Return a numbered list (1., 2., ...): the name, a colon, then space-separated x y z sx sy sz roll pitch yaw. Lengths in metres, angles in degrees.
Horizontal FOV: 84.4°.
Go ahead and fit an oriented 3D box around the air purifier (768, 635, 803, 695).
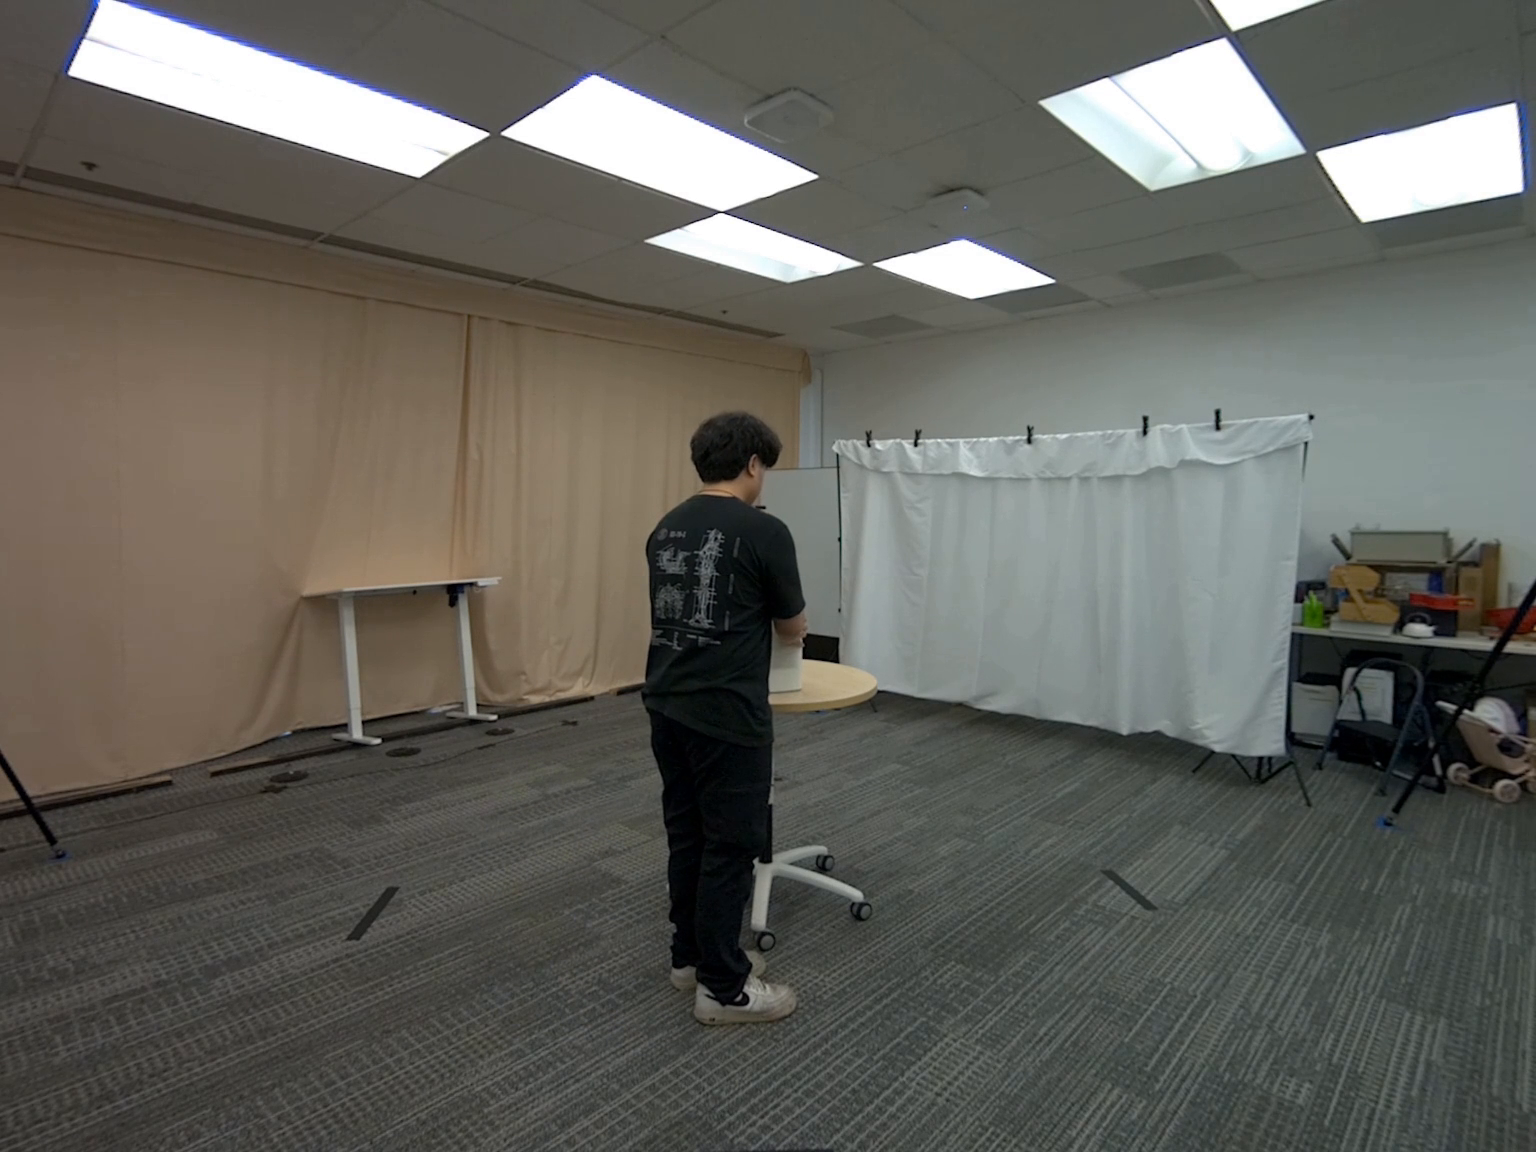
1. air purifier: 0.023 0.236 2.770 0.168 0.264 0.175 -2 6 -21
